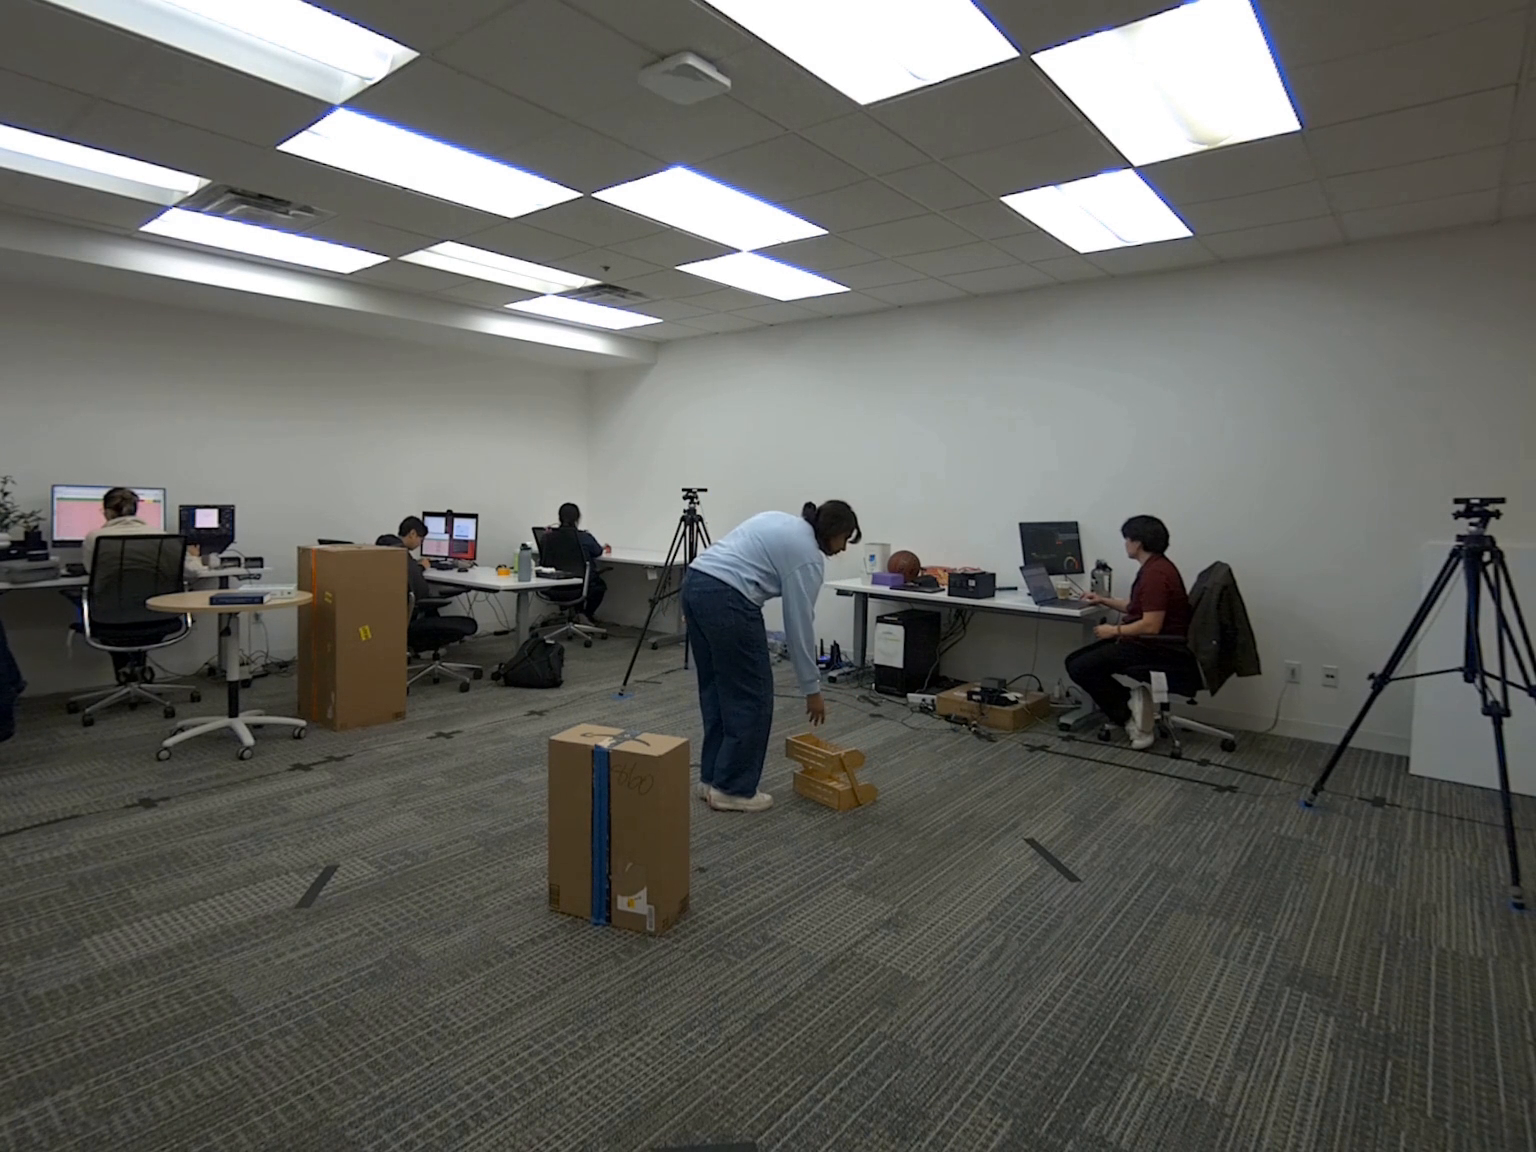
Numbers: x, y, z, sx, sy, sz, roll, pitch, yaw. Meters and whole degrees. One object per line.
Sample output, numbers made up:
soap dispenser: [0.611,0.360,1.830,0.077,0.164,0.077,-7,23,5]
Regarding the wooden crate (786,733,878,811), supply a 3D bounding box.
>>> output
wooden crate: [0.282,0.875,3.882,0.293,0.272,0.335,-4,7,-40]
